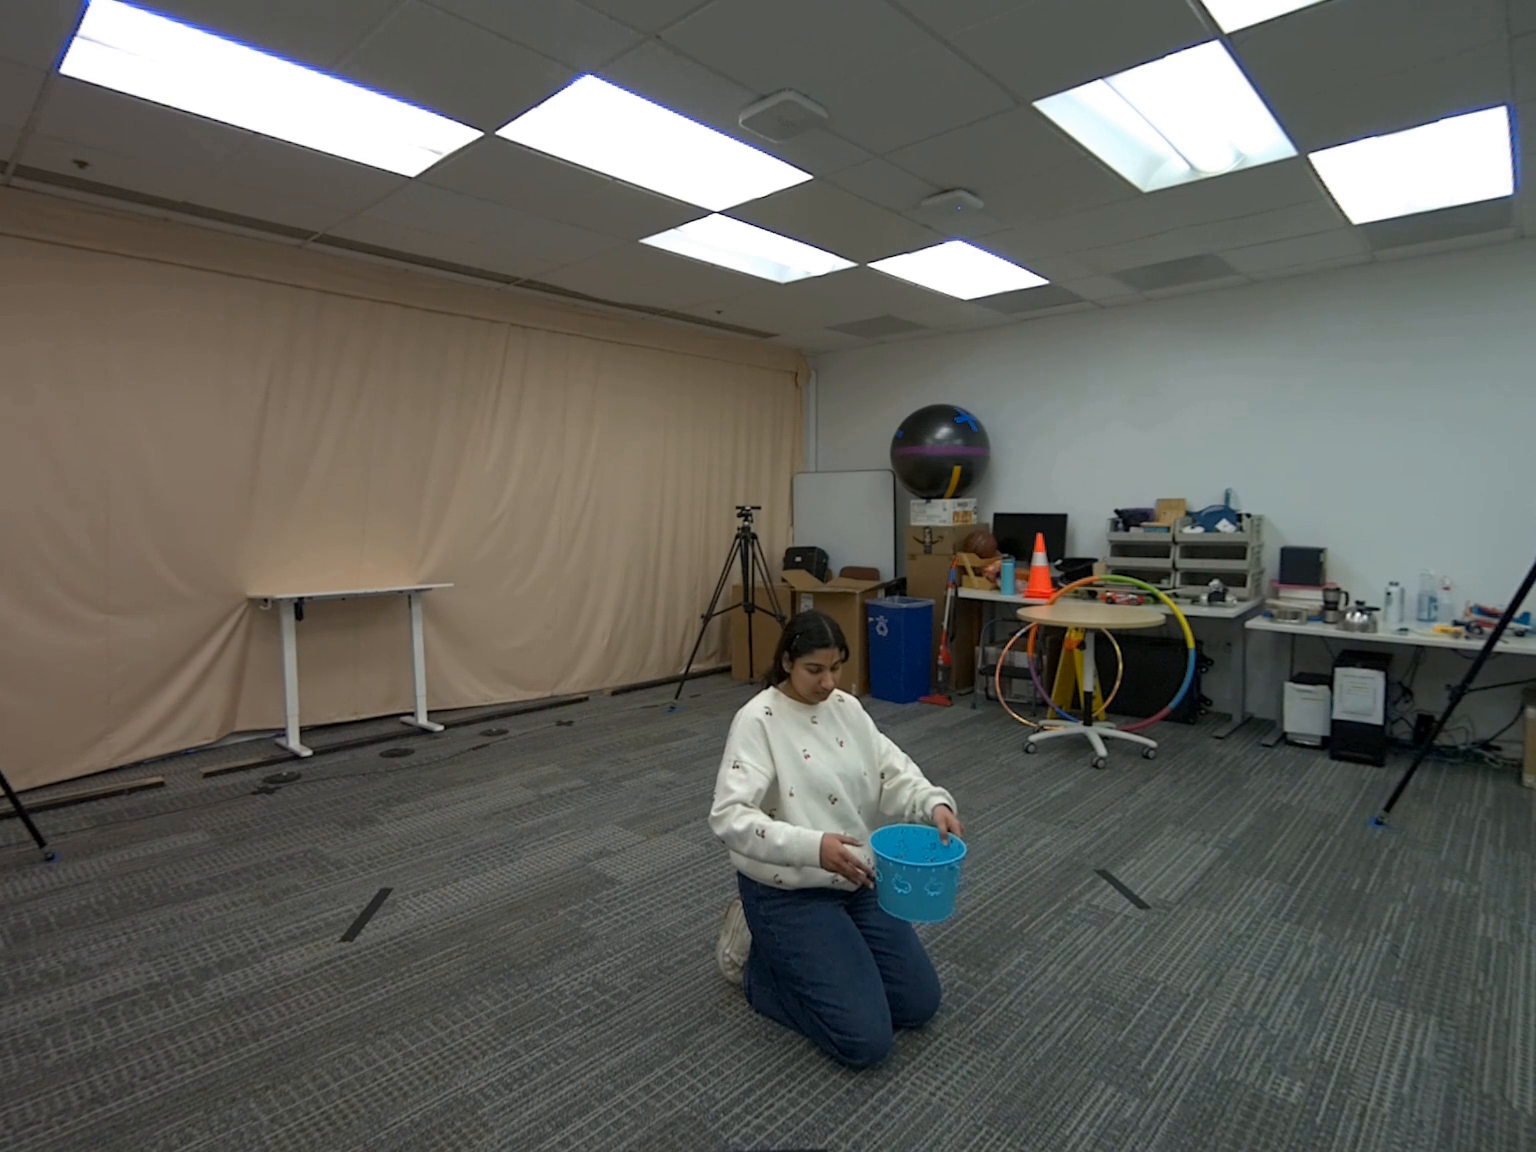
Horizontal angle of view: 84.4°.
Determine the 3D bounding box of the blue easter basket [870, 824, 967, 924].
[{"bbox_3d":[0.360,0.725,2.054,0.243,0.155,0.245,0,8,-2],"label":"blue easter basket"}]
